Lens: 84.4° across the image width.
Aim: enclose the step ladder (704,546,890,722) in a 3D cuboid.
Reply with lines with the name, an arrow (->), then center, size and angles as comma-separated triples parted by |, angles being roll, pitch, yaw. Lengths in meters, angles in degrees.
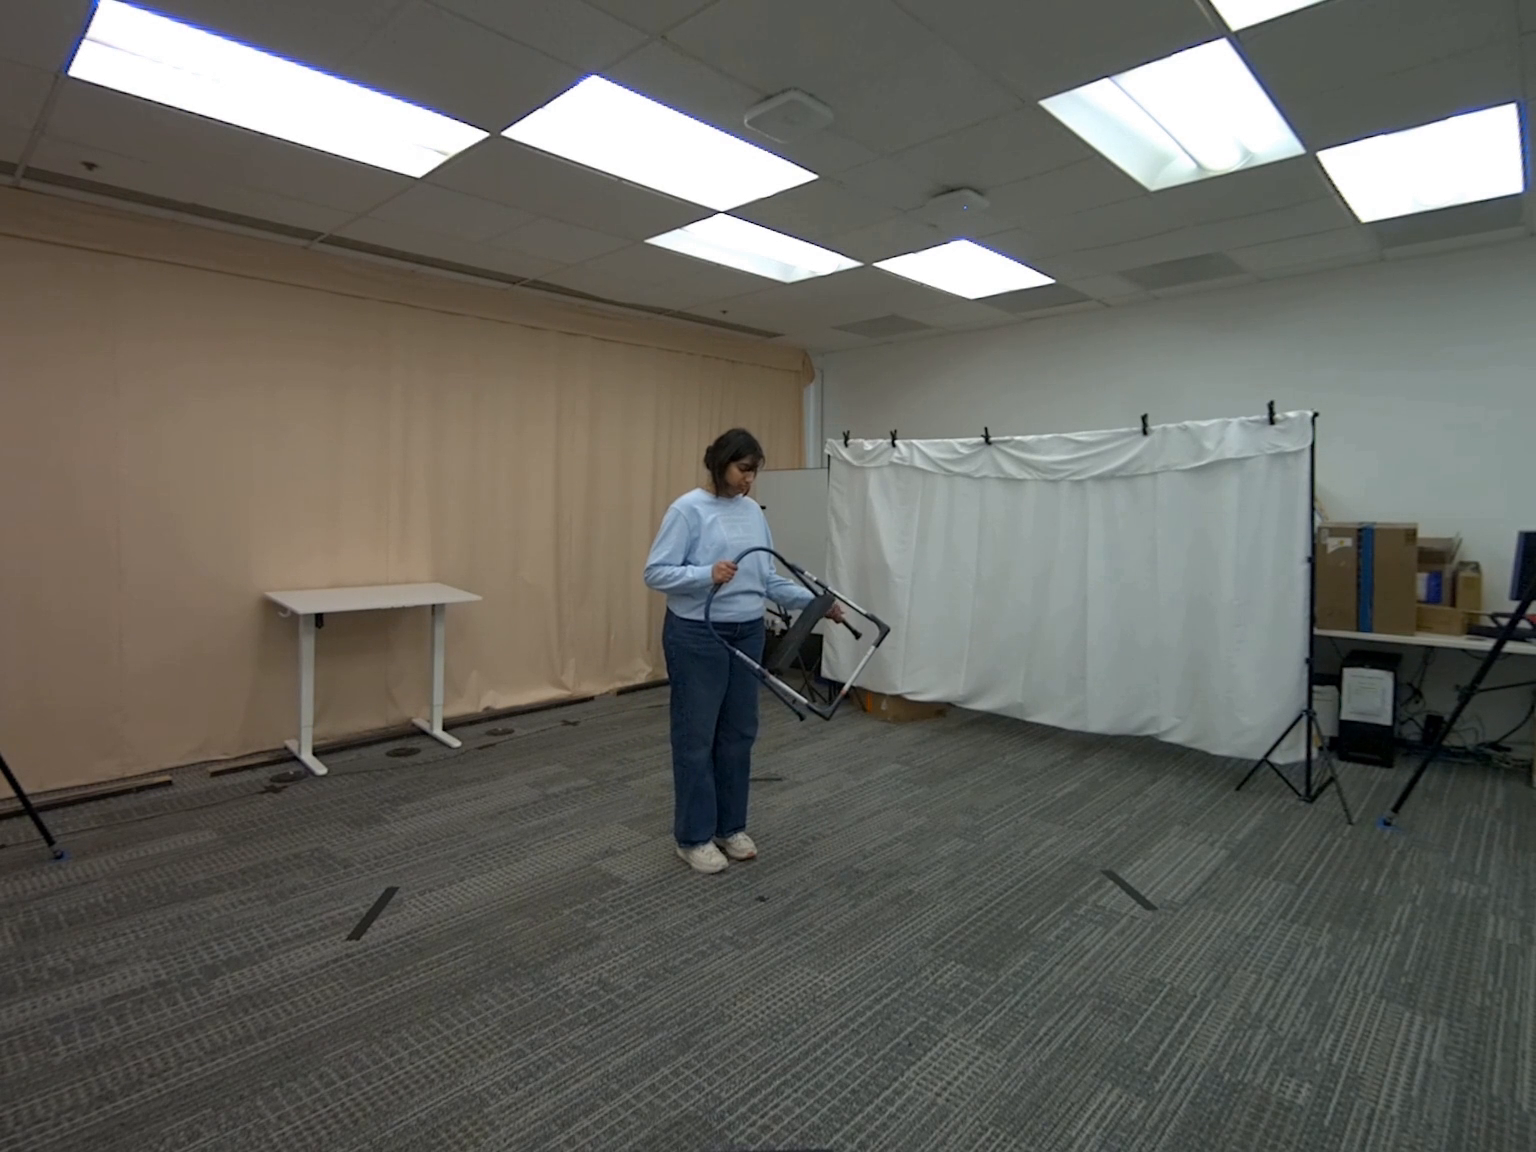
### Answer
step ladder -> 0.068, 0.186, 3.155 | 0.603, 0.429, 0.352 | 39, -15, -5
